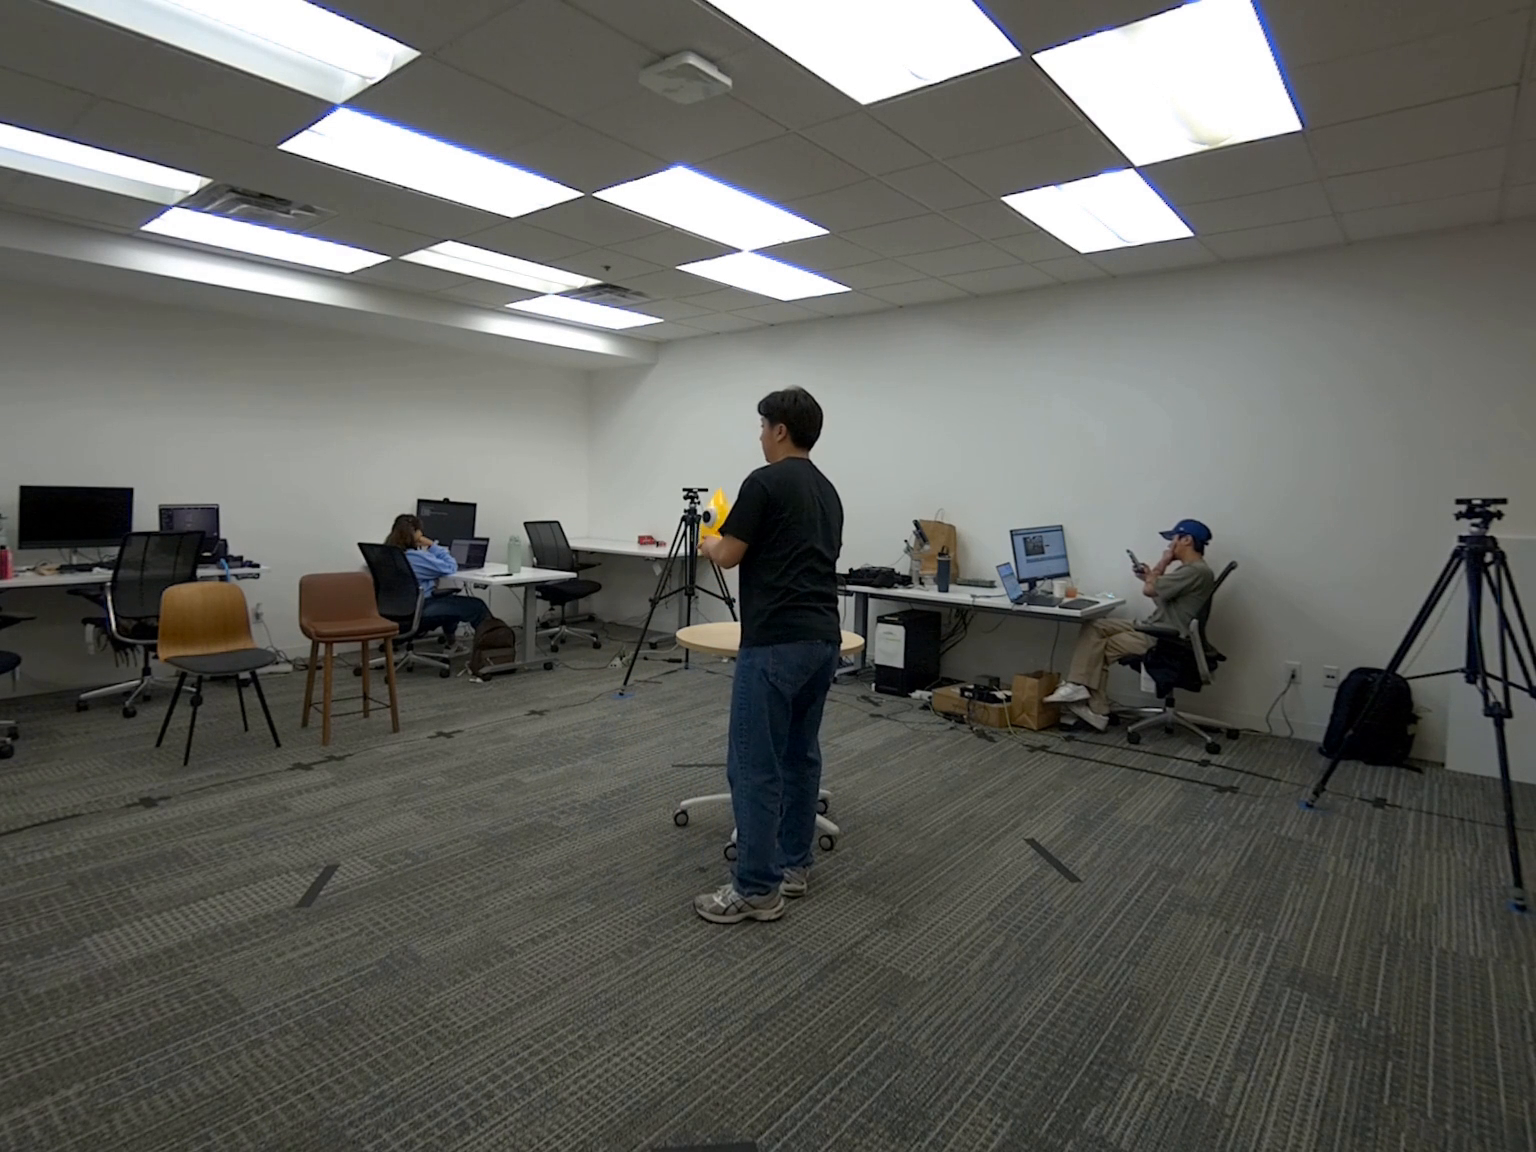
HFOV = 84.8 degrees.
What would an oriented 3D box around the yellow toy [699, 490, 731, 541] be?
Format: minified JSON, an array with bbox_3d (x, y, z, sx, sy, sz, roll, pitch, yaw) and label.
[{"bbox_3d":[-0.212,-0.219,3.288,0.194,0.233,0.201,-21,-7,11],"label":"yellow toy"}]
